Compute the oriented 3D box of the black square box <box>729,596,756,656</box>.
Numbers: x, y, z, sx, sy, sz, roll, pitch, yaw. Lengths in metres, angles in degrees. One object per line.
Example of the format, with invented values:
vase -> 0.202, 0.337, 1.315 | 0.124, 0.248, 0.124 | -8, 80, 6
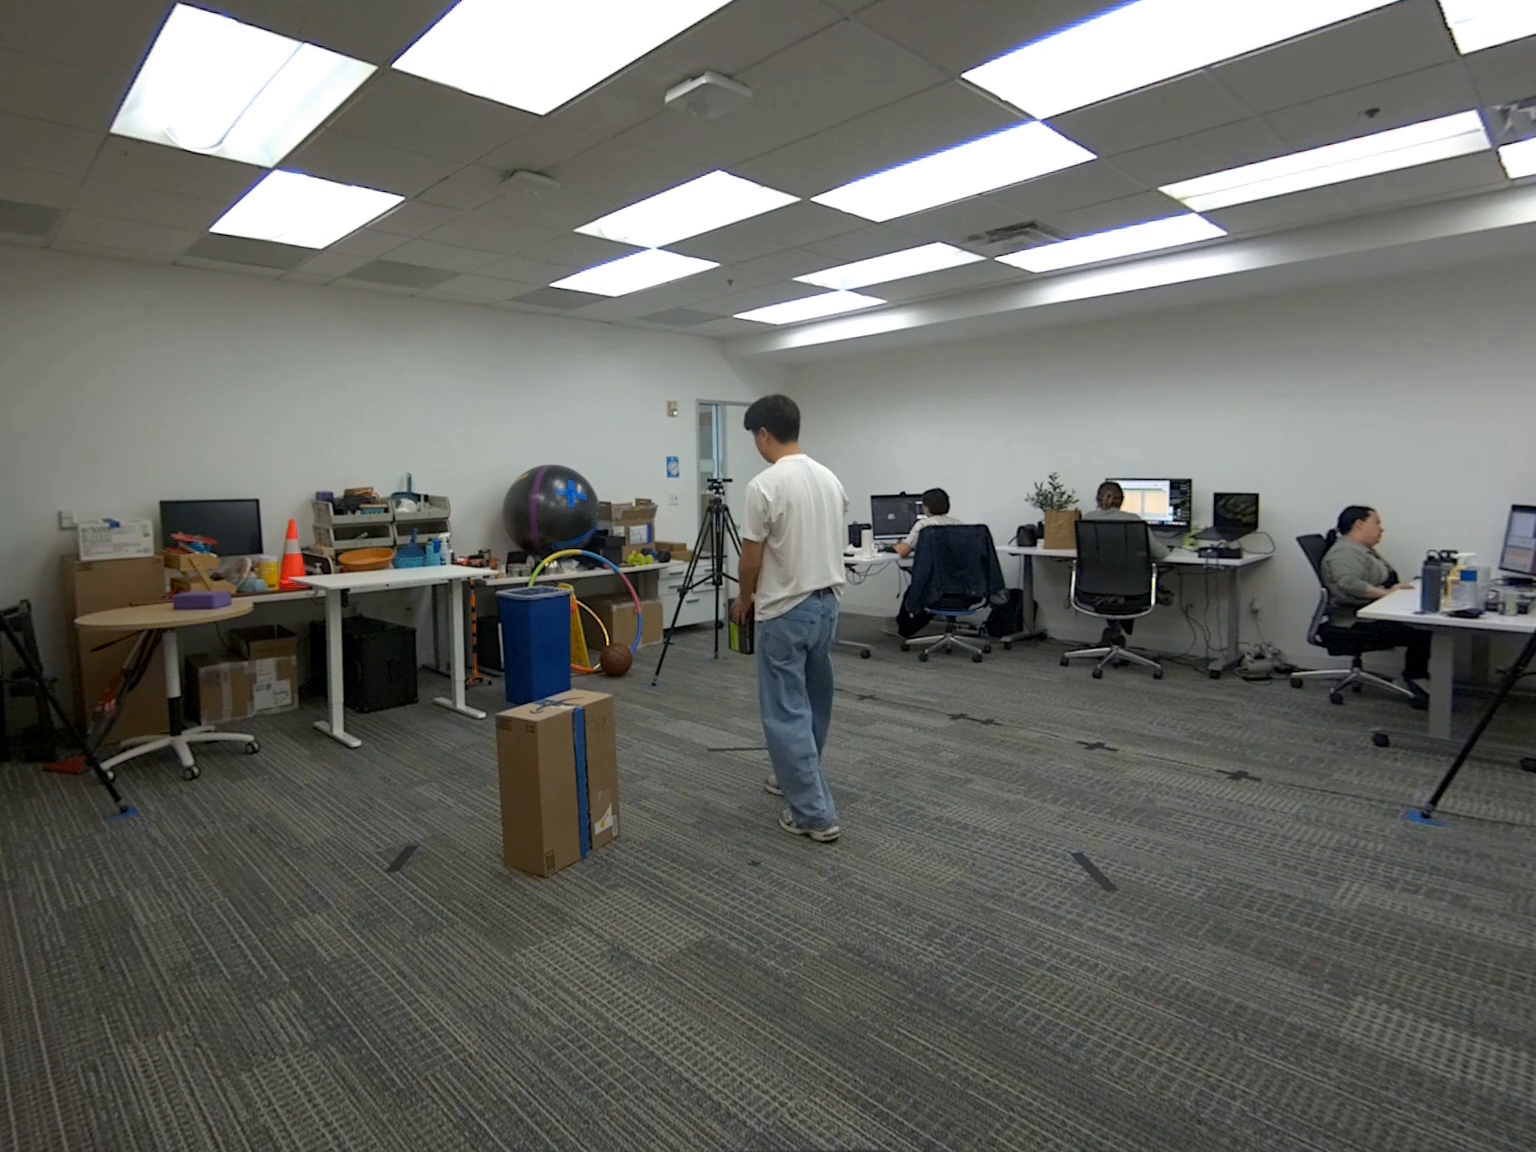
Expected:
black square box -> -0.034, 0.201, 3.720 | 0.212, 0.227, 0.160 | -5, 6, -34
